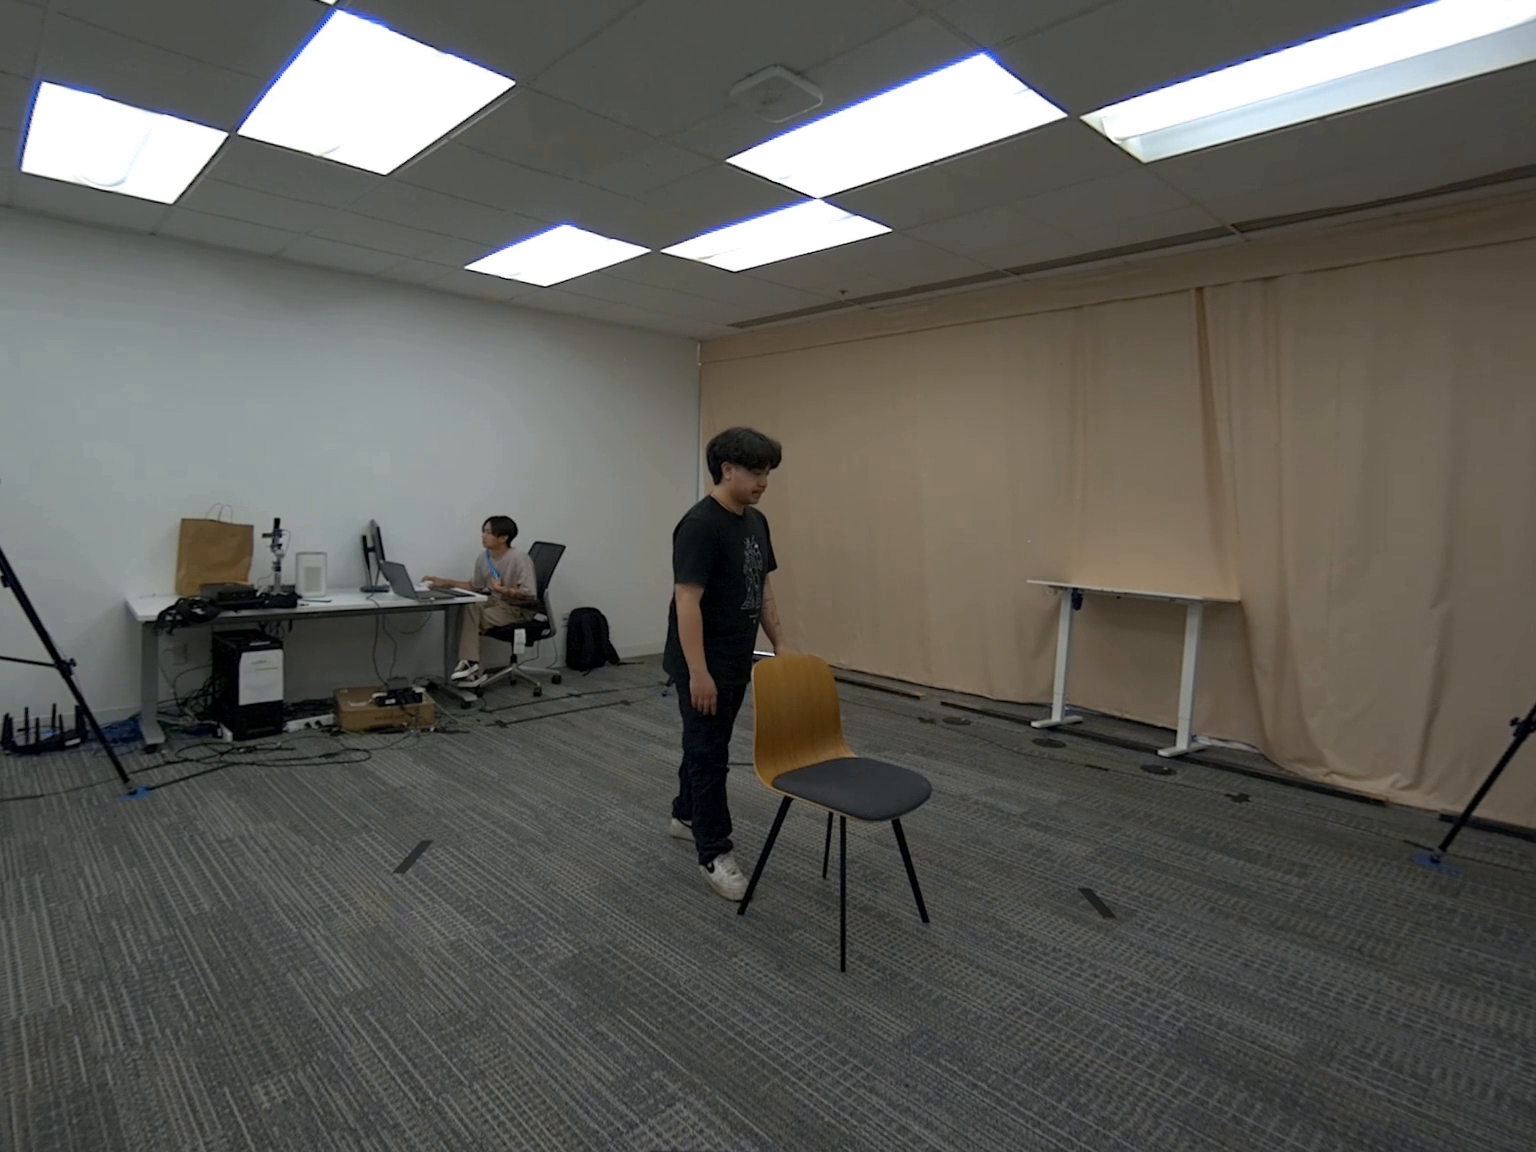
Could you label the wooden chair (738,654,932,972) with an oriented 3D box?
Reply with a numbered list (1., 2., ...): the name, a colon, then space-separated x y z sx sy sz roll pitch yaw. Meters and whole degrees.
1. wooden chair: 0.230 0.720 2.766 0.535 0.877 0.467 -1 0 45
